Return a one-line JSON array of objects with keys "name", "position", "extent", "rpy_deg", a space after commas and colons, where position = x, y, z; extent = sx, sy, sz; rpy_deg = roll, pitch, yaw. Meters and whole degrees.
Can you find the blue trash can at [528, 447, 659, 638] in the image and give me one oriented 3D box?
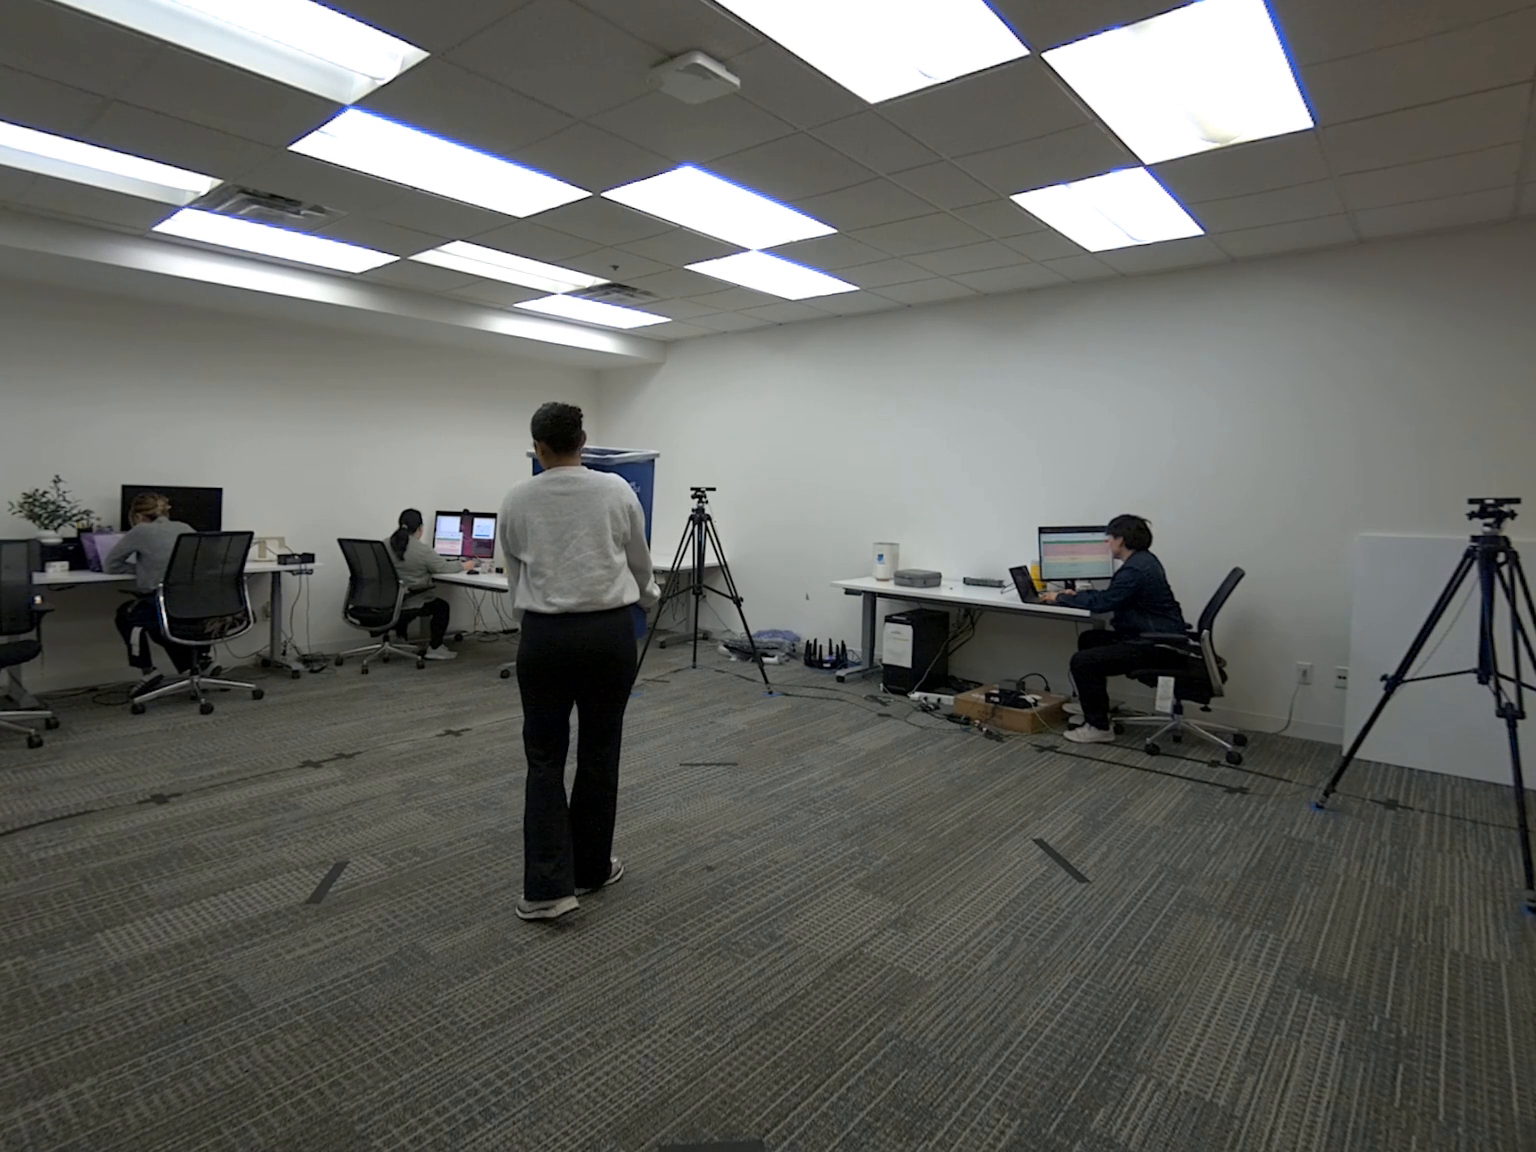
[{"name": "blue trash can", "position": [-0.651, -0.115, 3.171], "extent": [0.383, 0.707, 0.372], "rpy_deg": [6, 11, 22]}]
